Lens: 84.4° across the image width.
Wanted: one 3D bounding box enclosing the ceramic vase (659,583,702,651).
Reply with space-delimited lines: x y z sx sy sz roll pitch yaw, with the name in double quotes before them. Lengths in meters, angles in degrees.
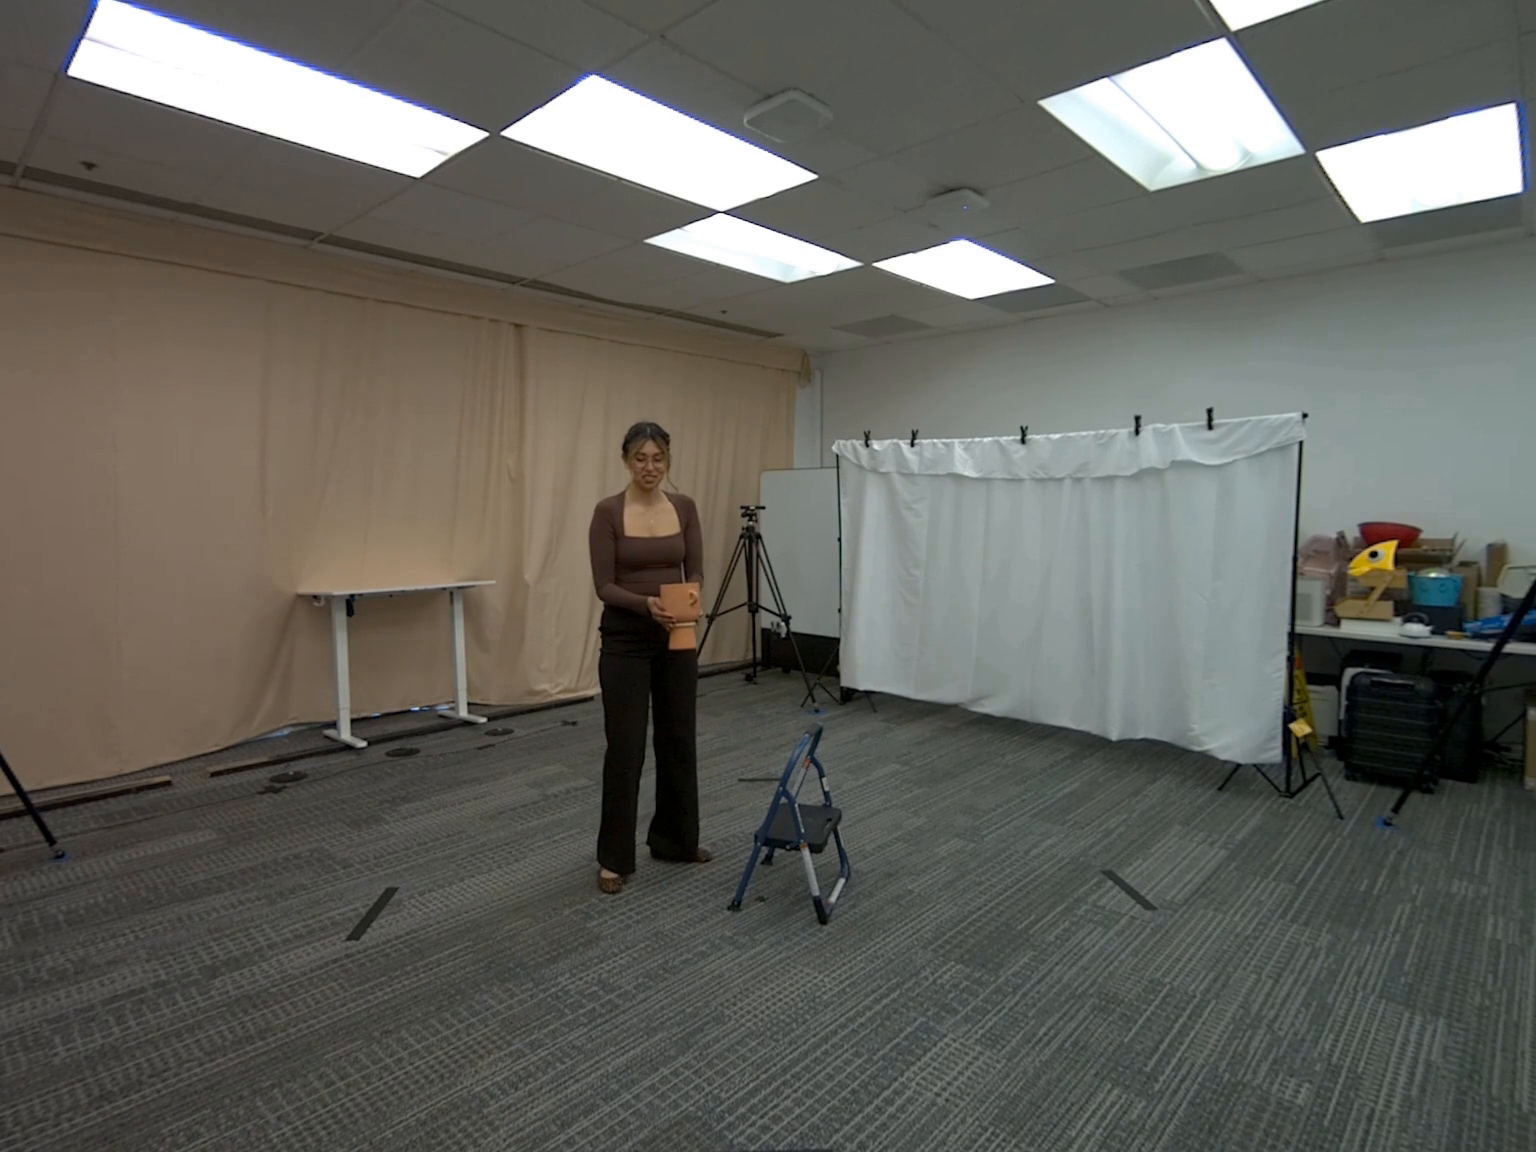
"ceramic vase" -0.294 0.138 2.882 0.135 0.220 0.159 -5 -1 -1
